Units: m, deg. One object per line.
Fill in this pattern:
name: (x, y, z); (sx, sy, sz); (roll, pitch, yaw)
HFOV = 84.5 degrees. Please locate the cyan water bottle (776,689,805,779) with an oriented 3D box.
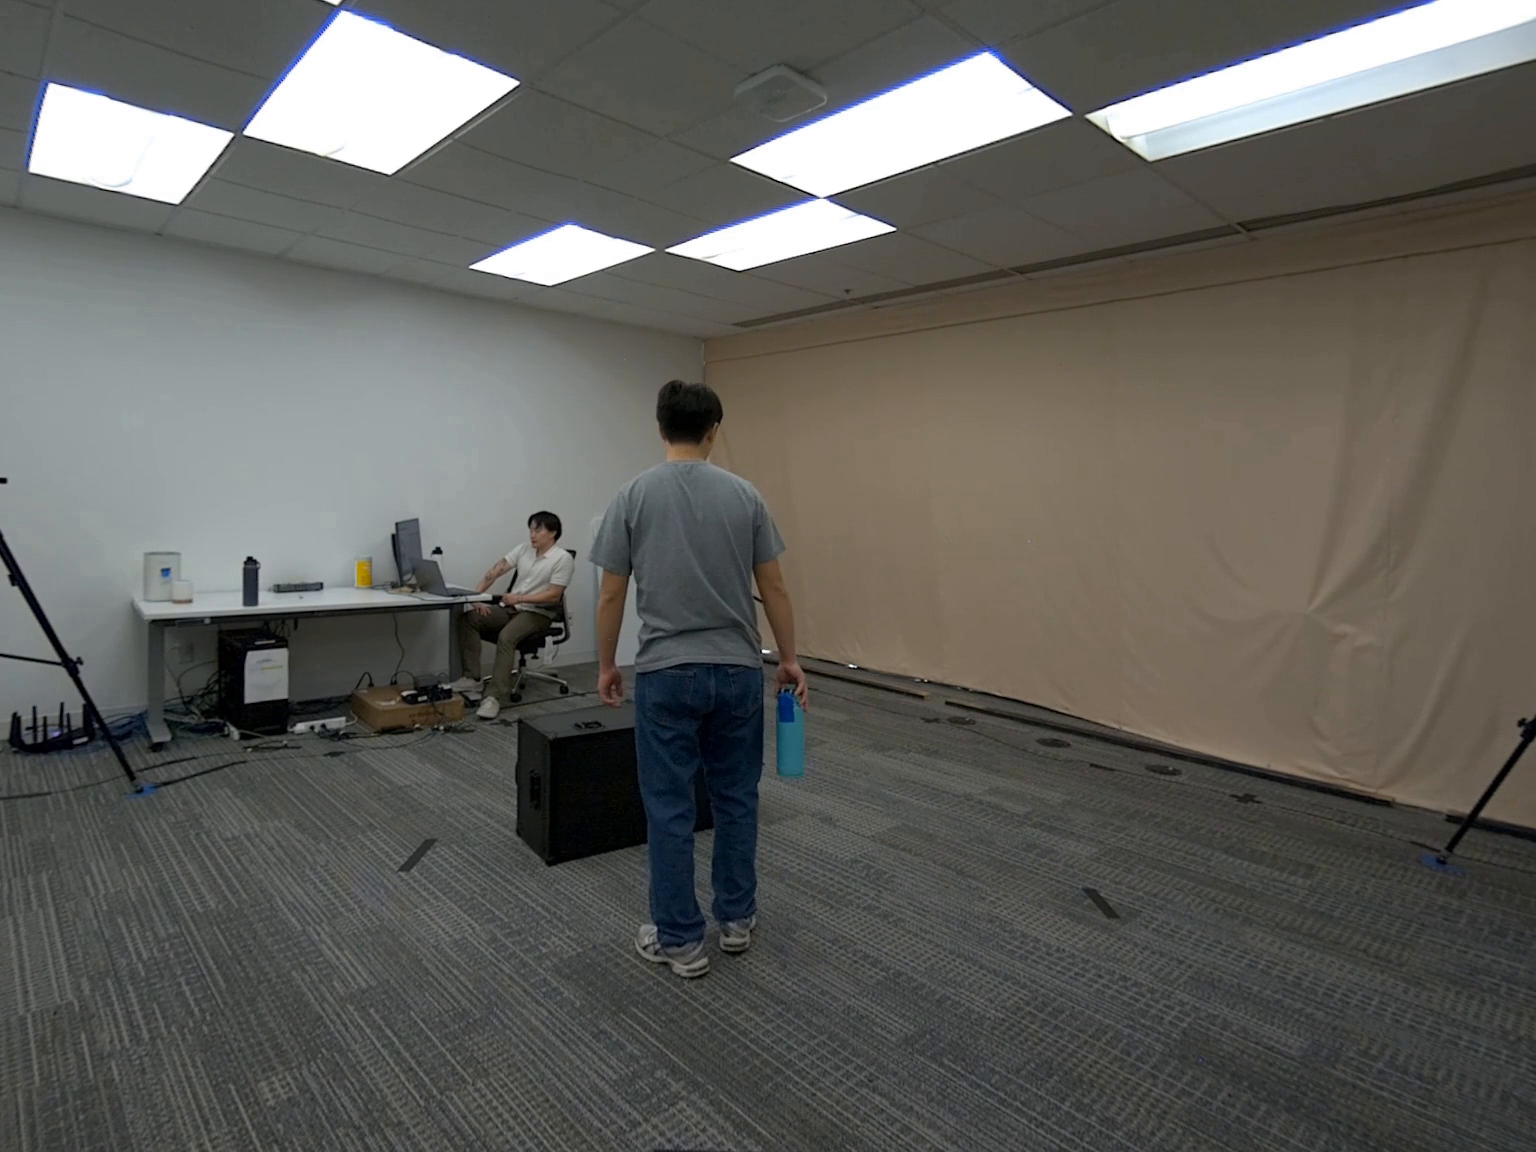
cyan water bottle: (0.053, 0.485, 2.634); (0.092, 0.282, 0.093); (-3, 4, -1)
